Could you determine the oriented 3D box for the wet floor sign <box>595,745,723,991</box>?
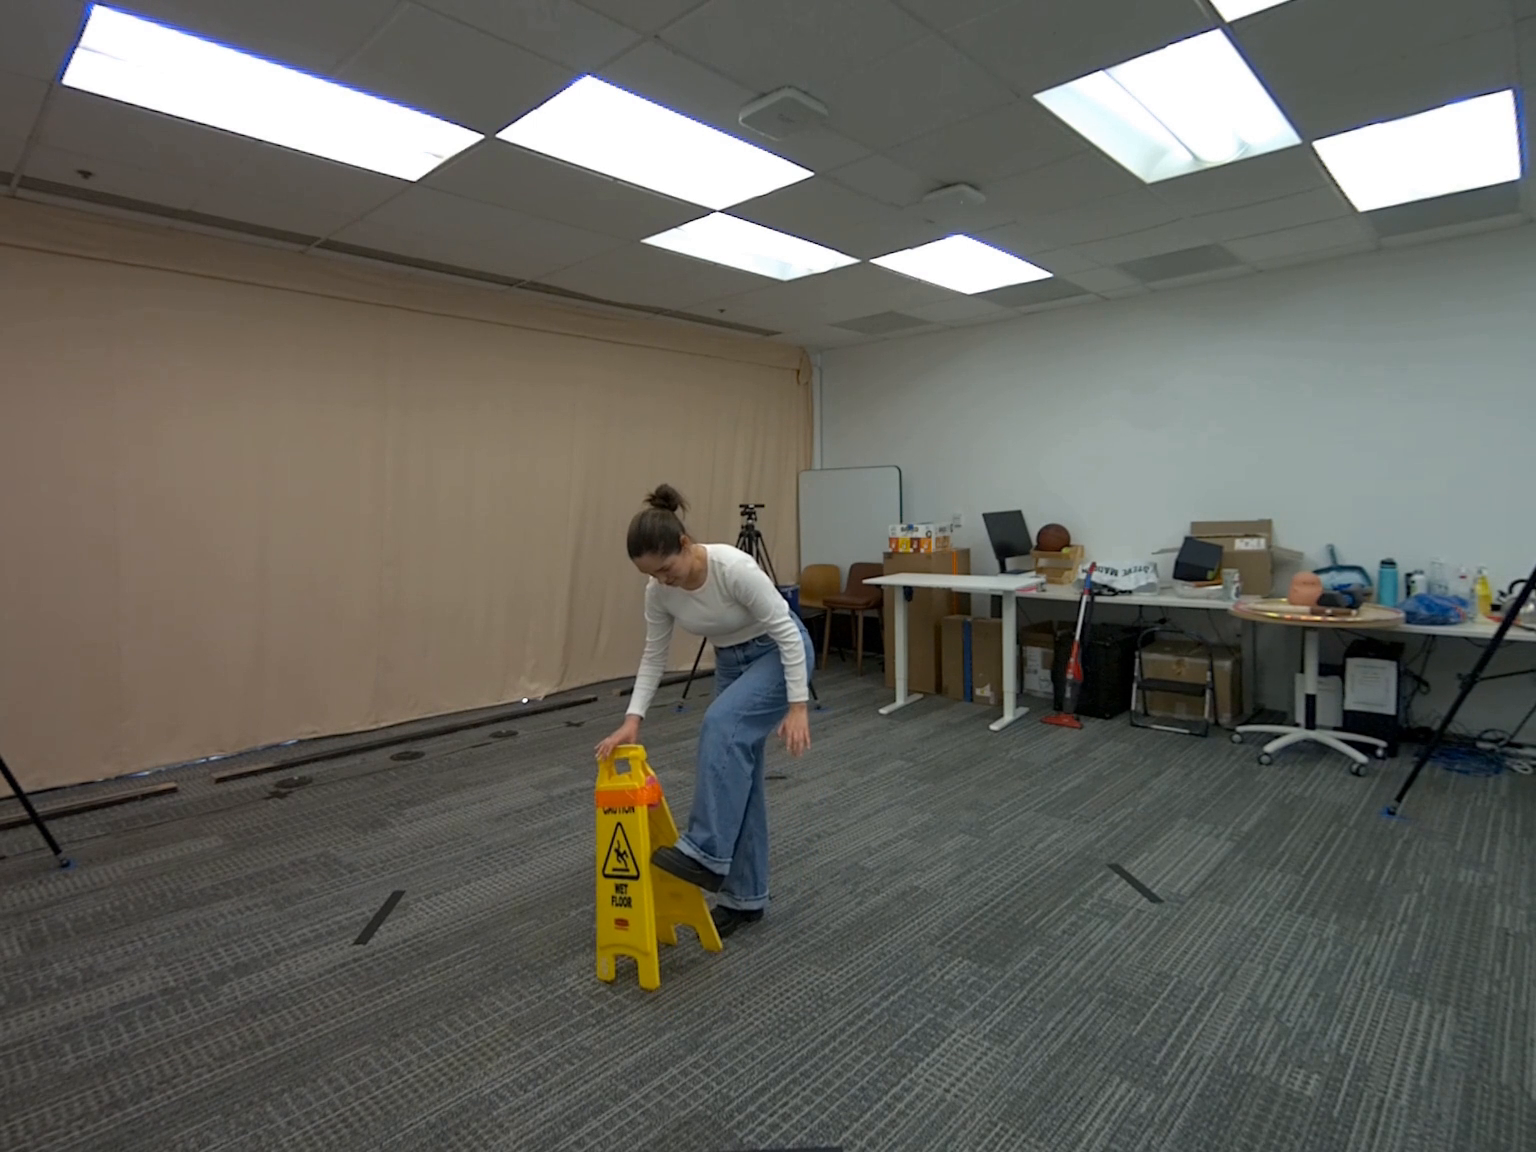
[{"bbox_3d":[-0.386,0.846,2.548,0.289,0.649,0.281,-17,-7,39],"label":"wet floor sign"}]
